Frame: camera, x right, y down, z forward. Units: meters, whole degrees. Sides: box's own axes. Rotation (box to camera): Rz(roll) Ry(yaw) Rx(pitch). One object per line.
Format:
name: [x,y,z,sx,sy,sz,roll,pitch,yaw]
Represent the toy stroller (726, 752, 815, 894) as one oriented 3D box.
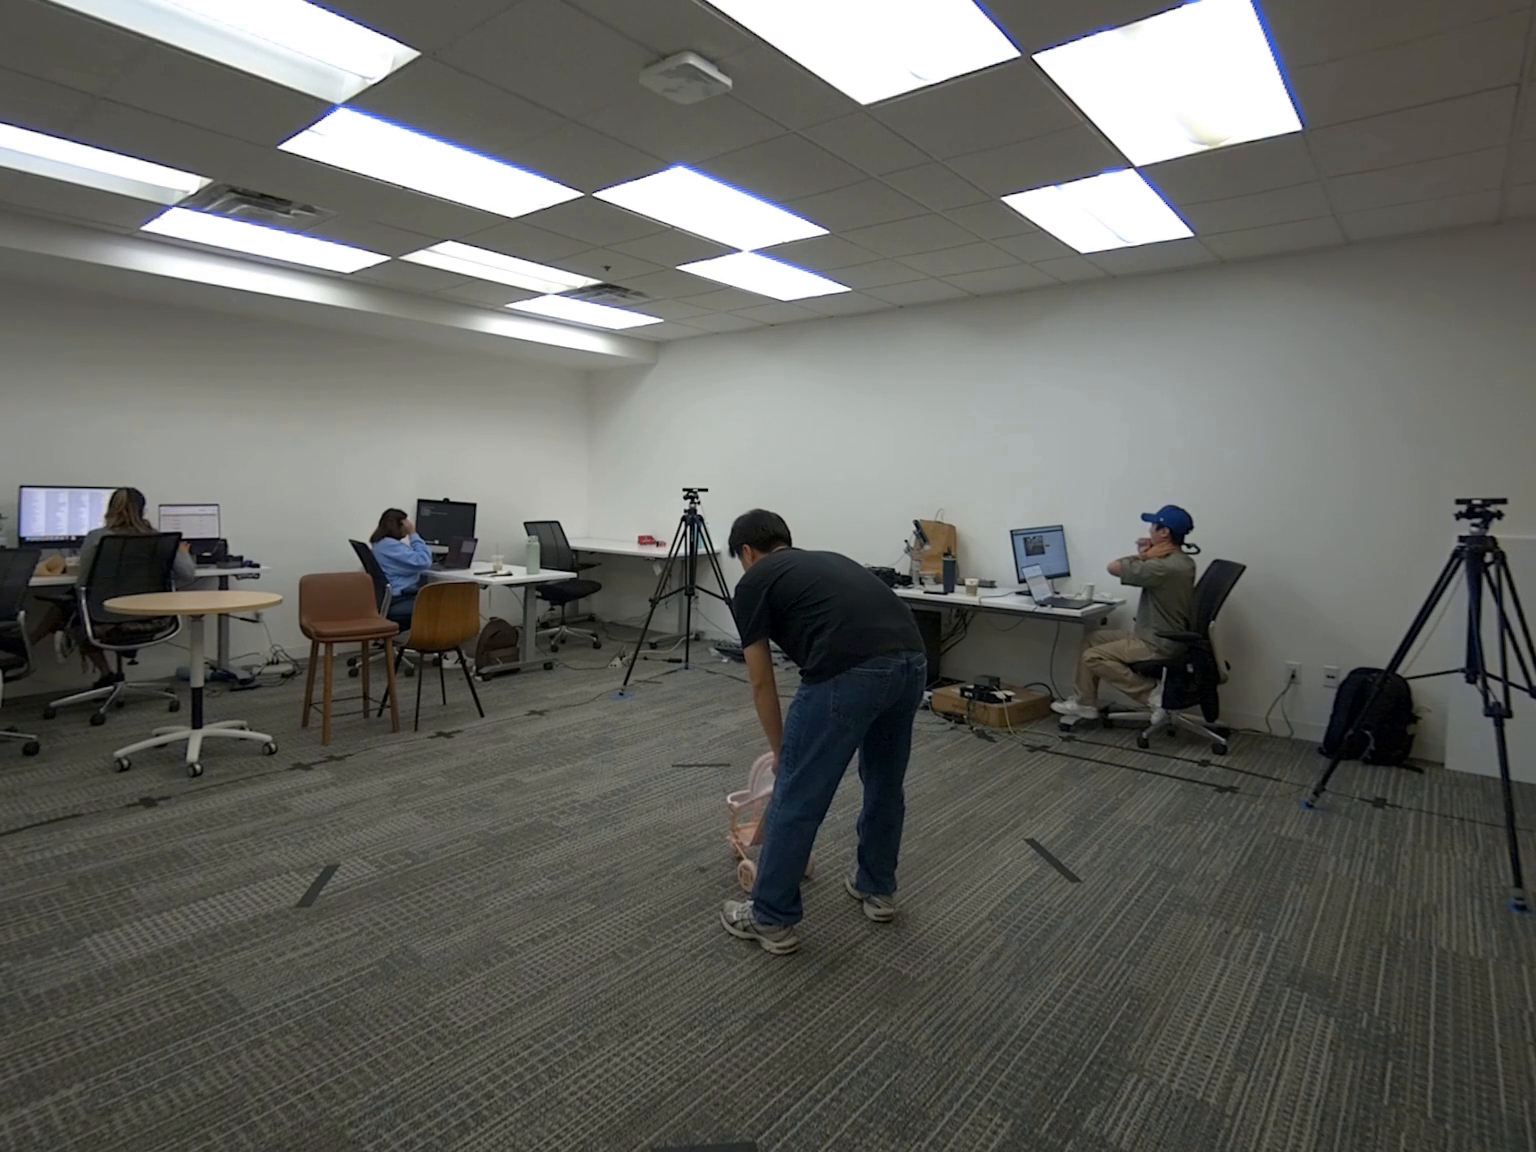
toy stroller: [-0.008,0.856,3.052,0.274,0.528,0.355,0,20,-31]
